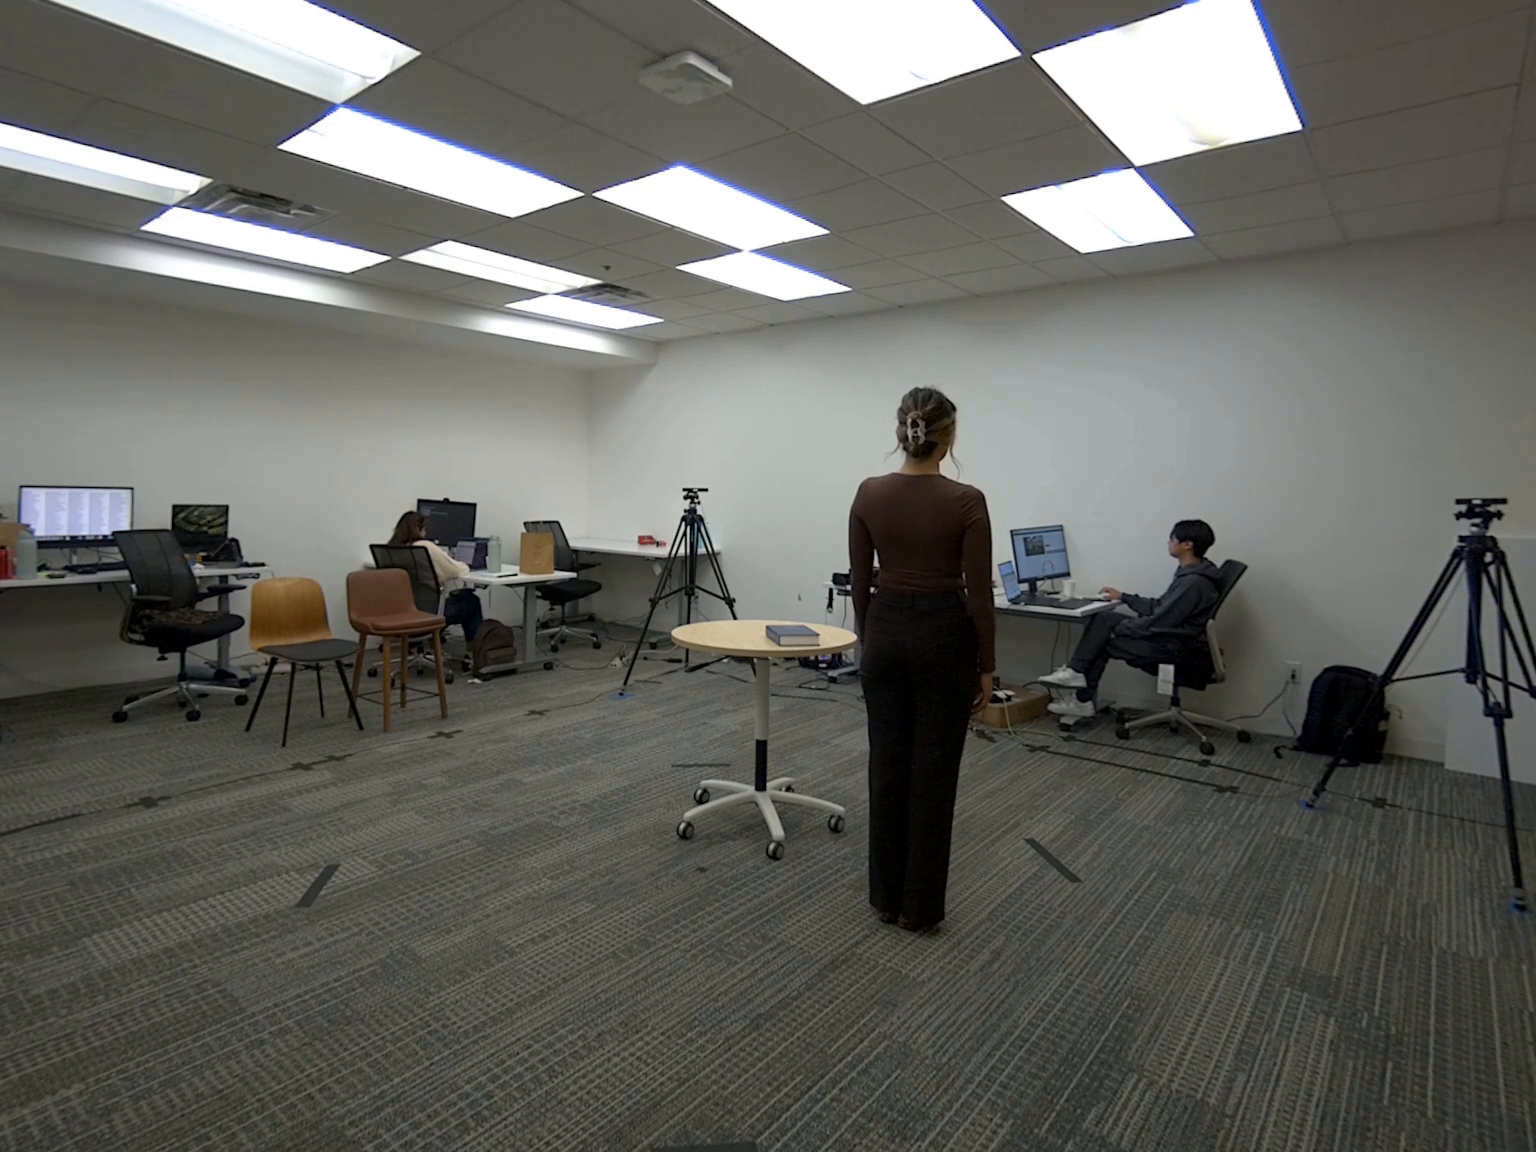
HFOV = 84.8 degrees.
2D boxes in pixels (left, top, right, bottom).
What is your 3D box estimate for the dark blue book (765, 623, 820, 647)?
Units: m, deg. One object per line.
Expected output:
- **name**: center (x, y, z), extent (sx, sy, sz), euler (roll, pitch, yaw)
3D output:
- **dark blue book**: center (0.087, 0.230, 3.362), extent (0.161, 0.045, 0.249), euler (0, 5, -11)
